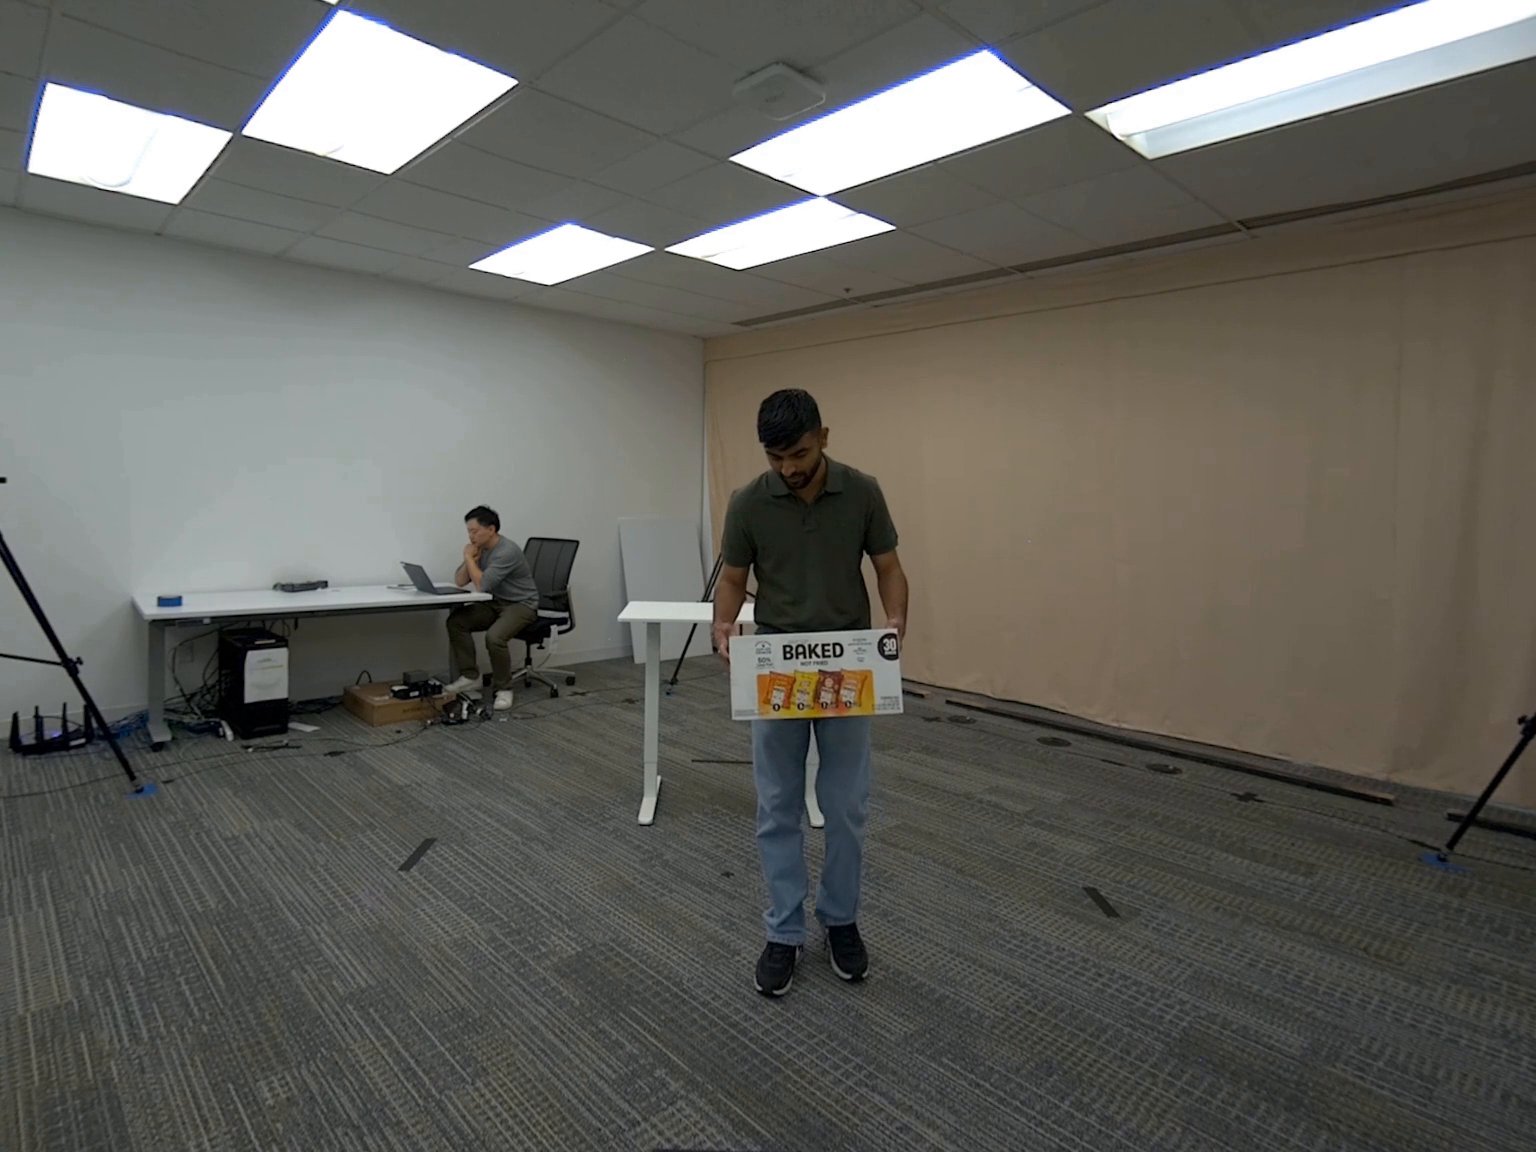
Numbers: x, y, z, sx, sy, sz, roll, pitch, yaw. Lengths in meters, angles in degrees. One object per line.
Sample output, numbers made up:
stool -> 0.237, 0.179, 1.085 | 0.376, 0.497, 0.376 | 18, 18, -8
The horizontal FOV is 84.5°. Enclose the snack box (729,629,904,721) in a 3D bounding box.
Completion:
snack box -> 0.107, 0.250, 2.171 | 0.406, 0.207, 0.338 | -1, -5, 2
